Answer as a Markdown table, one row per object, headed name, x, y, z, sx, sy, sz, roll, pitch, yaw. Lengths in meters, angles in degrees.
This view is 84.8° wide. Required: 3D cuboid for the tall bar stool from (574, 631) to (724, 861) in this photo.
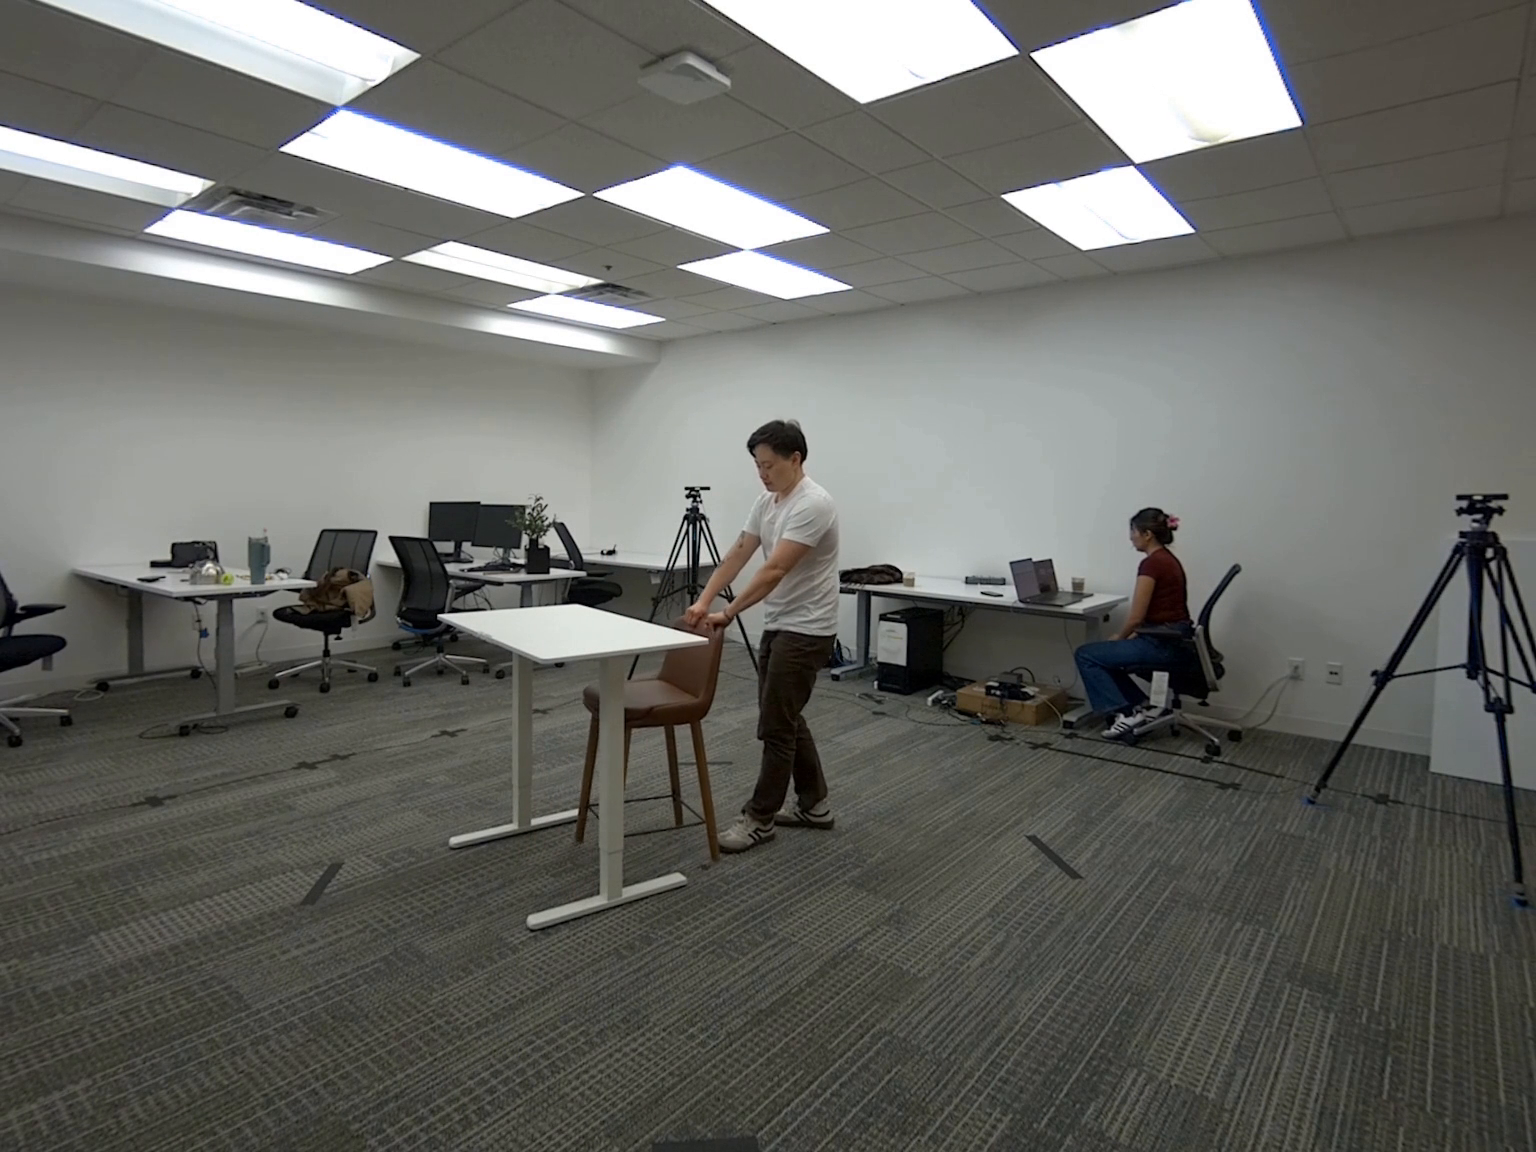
| name | x | y | z | sx | sy | sz | roll | pitch | yaw |
| --- | --- | --- | --- | --- | --- | --- | --- | --- | --- |
| tall bar stool | -0.455 | 0.611 | 3.239 | 0.455 | 0.888 | 0.469 | 2 | 2 | -28 |
